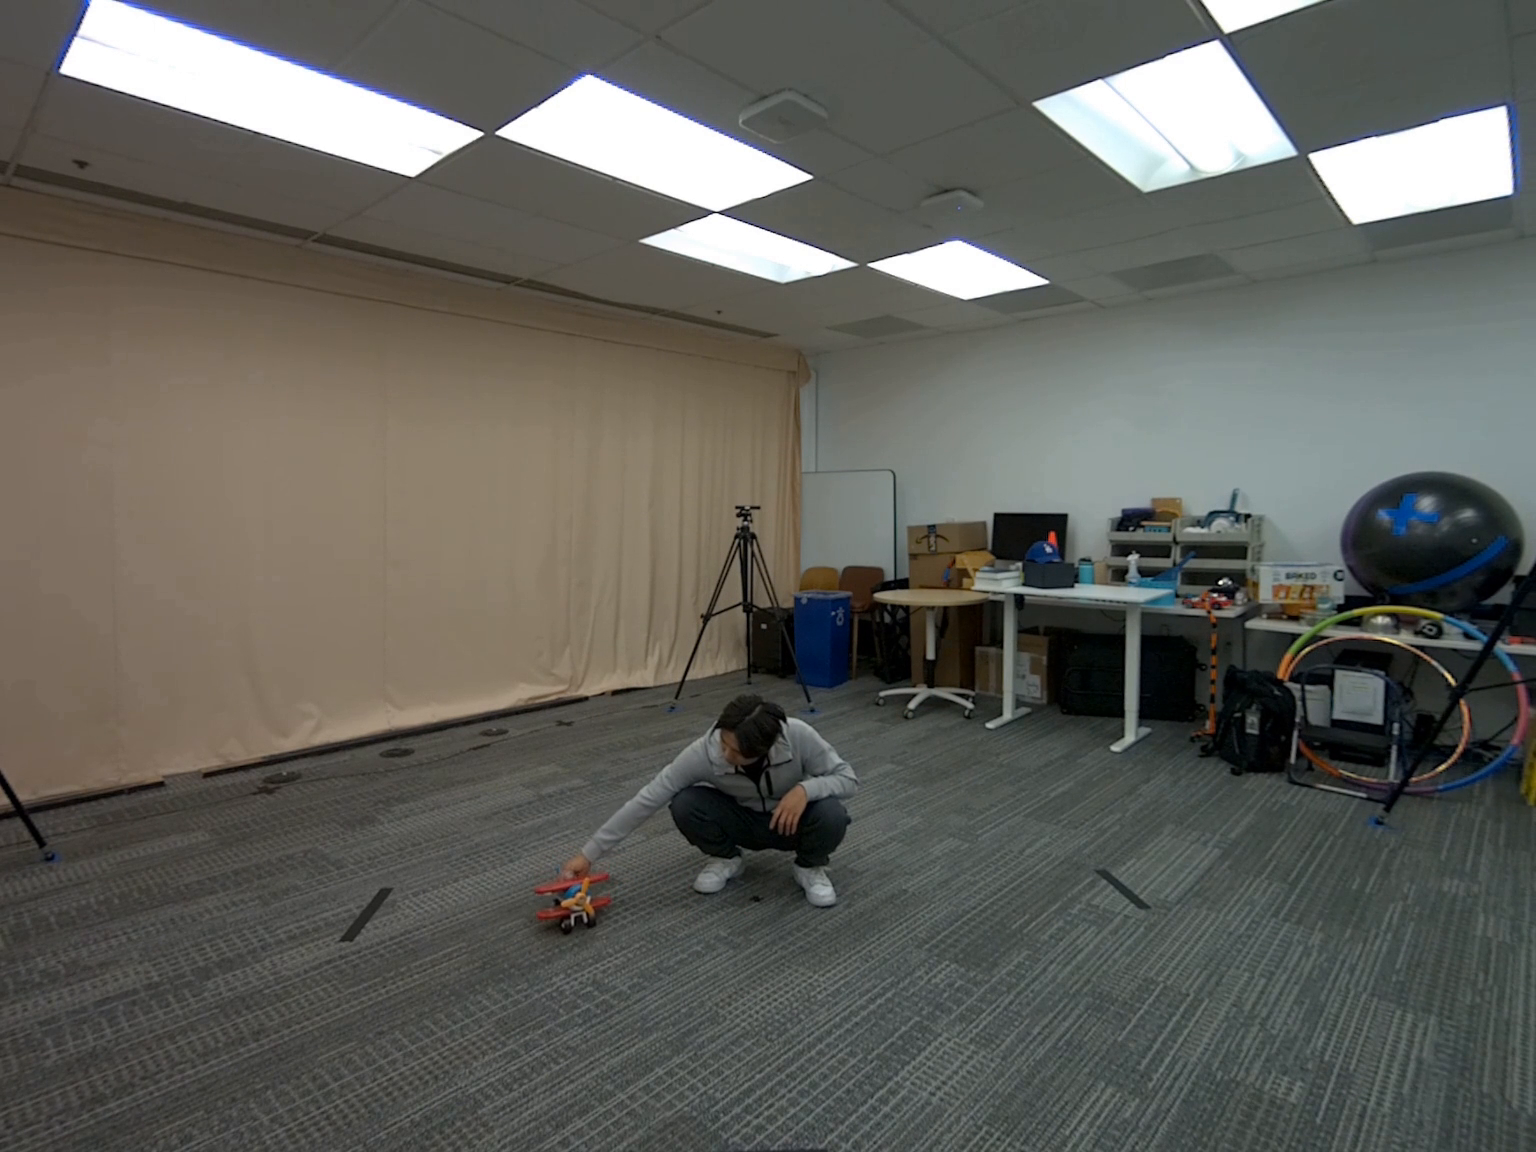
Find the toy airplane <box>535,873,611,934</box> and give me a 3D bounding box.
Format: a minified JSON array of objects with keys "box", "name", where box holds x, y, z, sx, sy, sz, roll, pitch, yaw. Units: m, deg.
[{"box":[-0.683,1.093,2.838,0.267,0.156,0.244,2,6,35],"name":"toy airplane"}]
